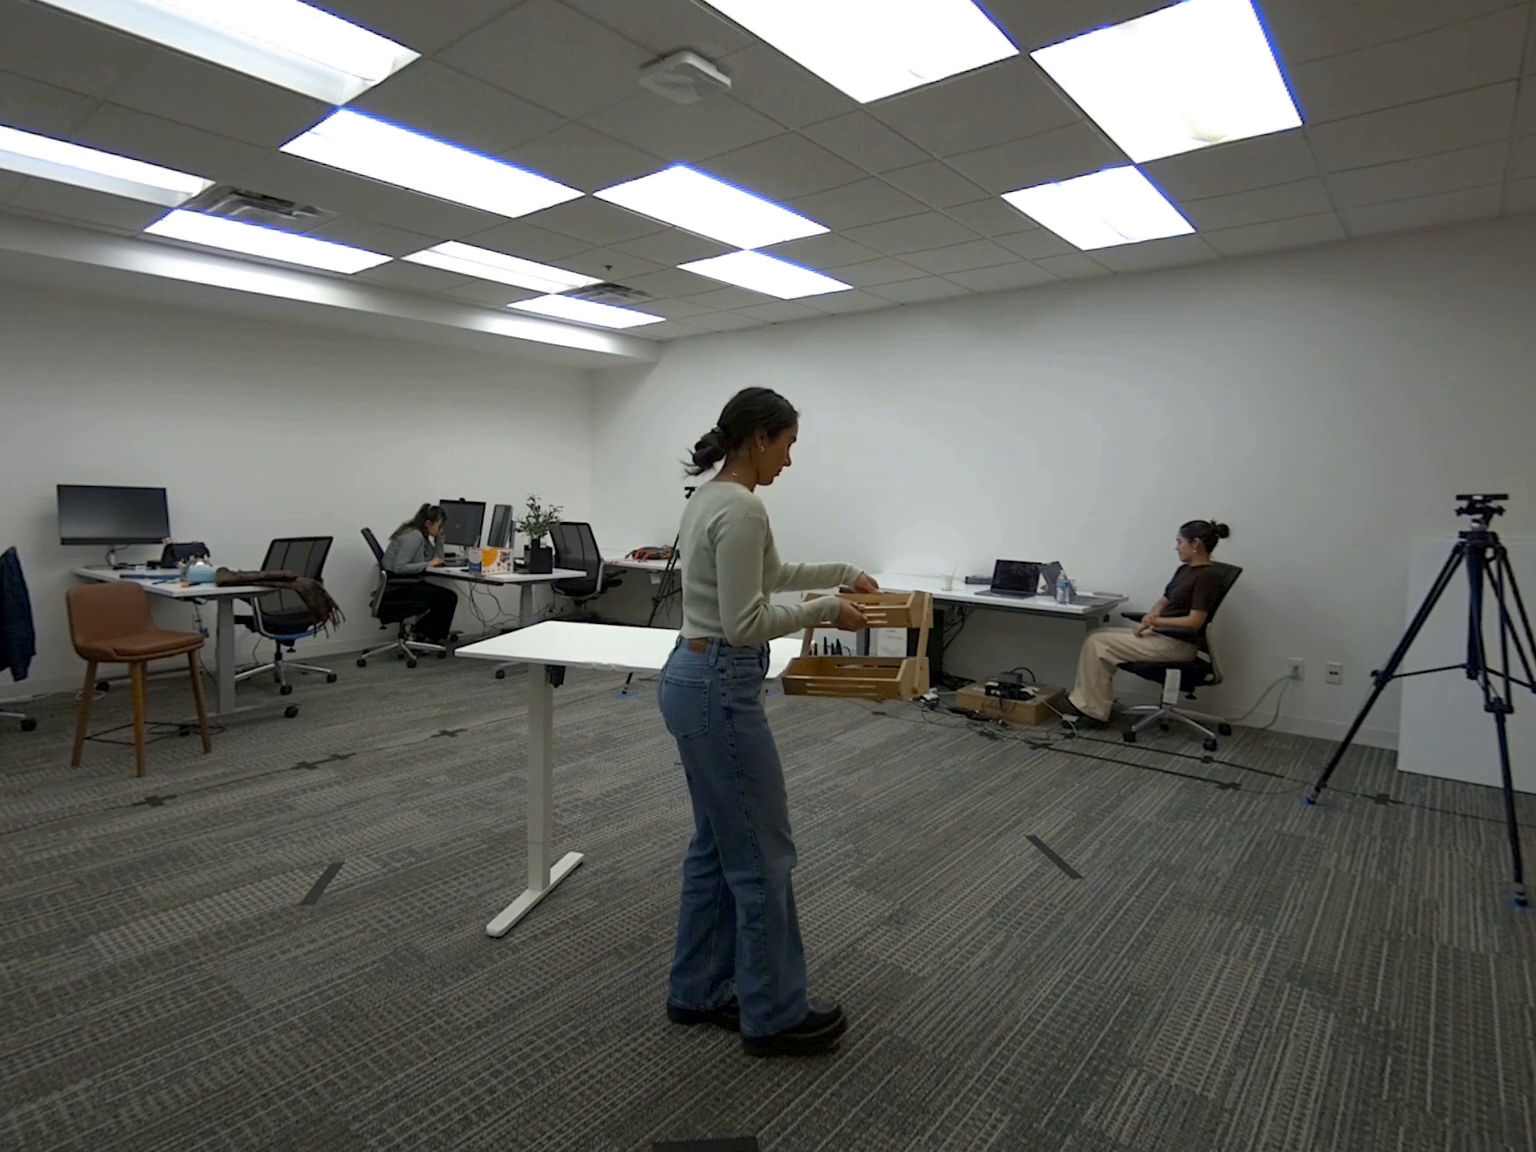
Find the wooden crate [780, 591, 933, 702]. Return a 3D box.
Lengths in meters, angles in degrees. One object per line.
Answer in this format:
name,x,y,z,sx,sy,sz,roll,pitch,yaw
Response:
wooden crate,0.227,0.170,2.168,0.332,0.275,0.293,-3,-5,26
